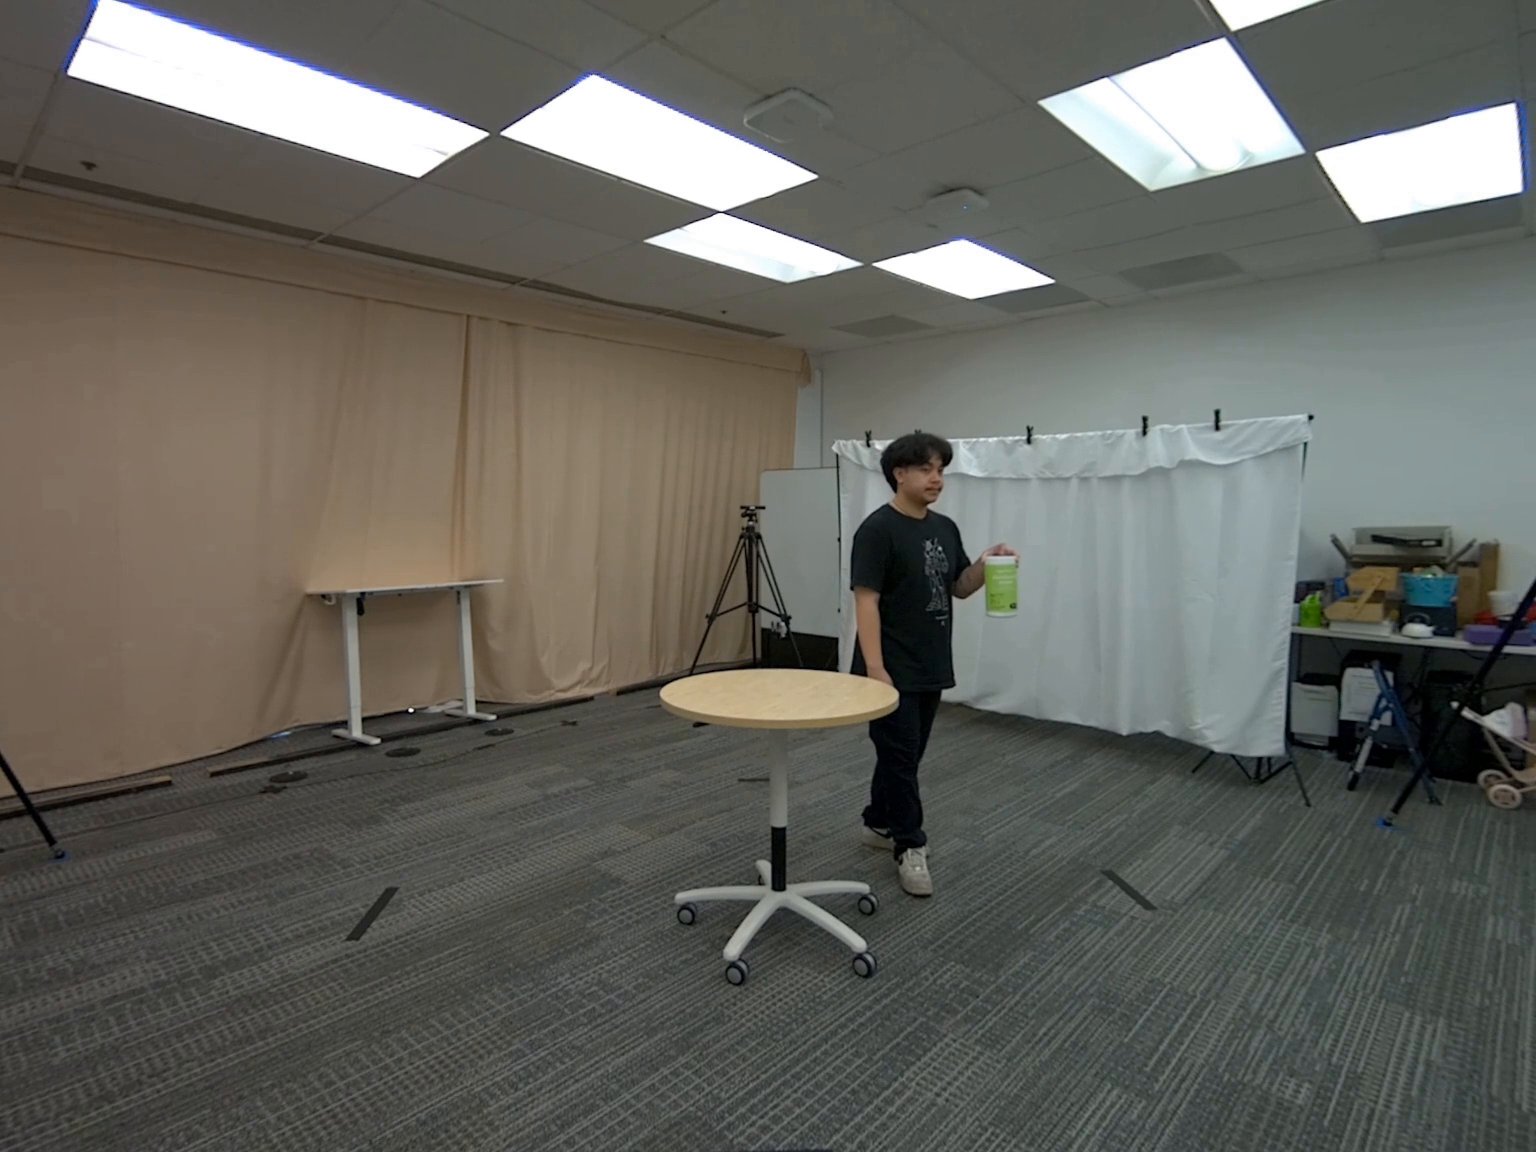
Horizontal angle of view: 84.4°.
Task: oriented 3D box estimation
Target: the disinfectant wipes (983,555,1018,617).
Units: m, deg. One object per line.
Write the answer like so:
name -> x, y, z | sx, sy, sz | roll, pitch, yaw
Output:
disinfectant wipes -> 0.833, 0.038, 3.017 | 0.118, 0.217, 0.118 | -3, 3, -2
